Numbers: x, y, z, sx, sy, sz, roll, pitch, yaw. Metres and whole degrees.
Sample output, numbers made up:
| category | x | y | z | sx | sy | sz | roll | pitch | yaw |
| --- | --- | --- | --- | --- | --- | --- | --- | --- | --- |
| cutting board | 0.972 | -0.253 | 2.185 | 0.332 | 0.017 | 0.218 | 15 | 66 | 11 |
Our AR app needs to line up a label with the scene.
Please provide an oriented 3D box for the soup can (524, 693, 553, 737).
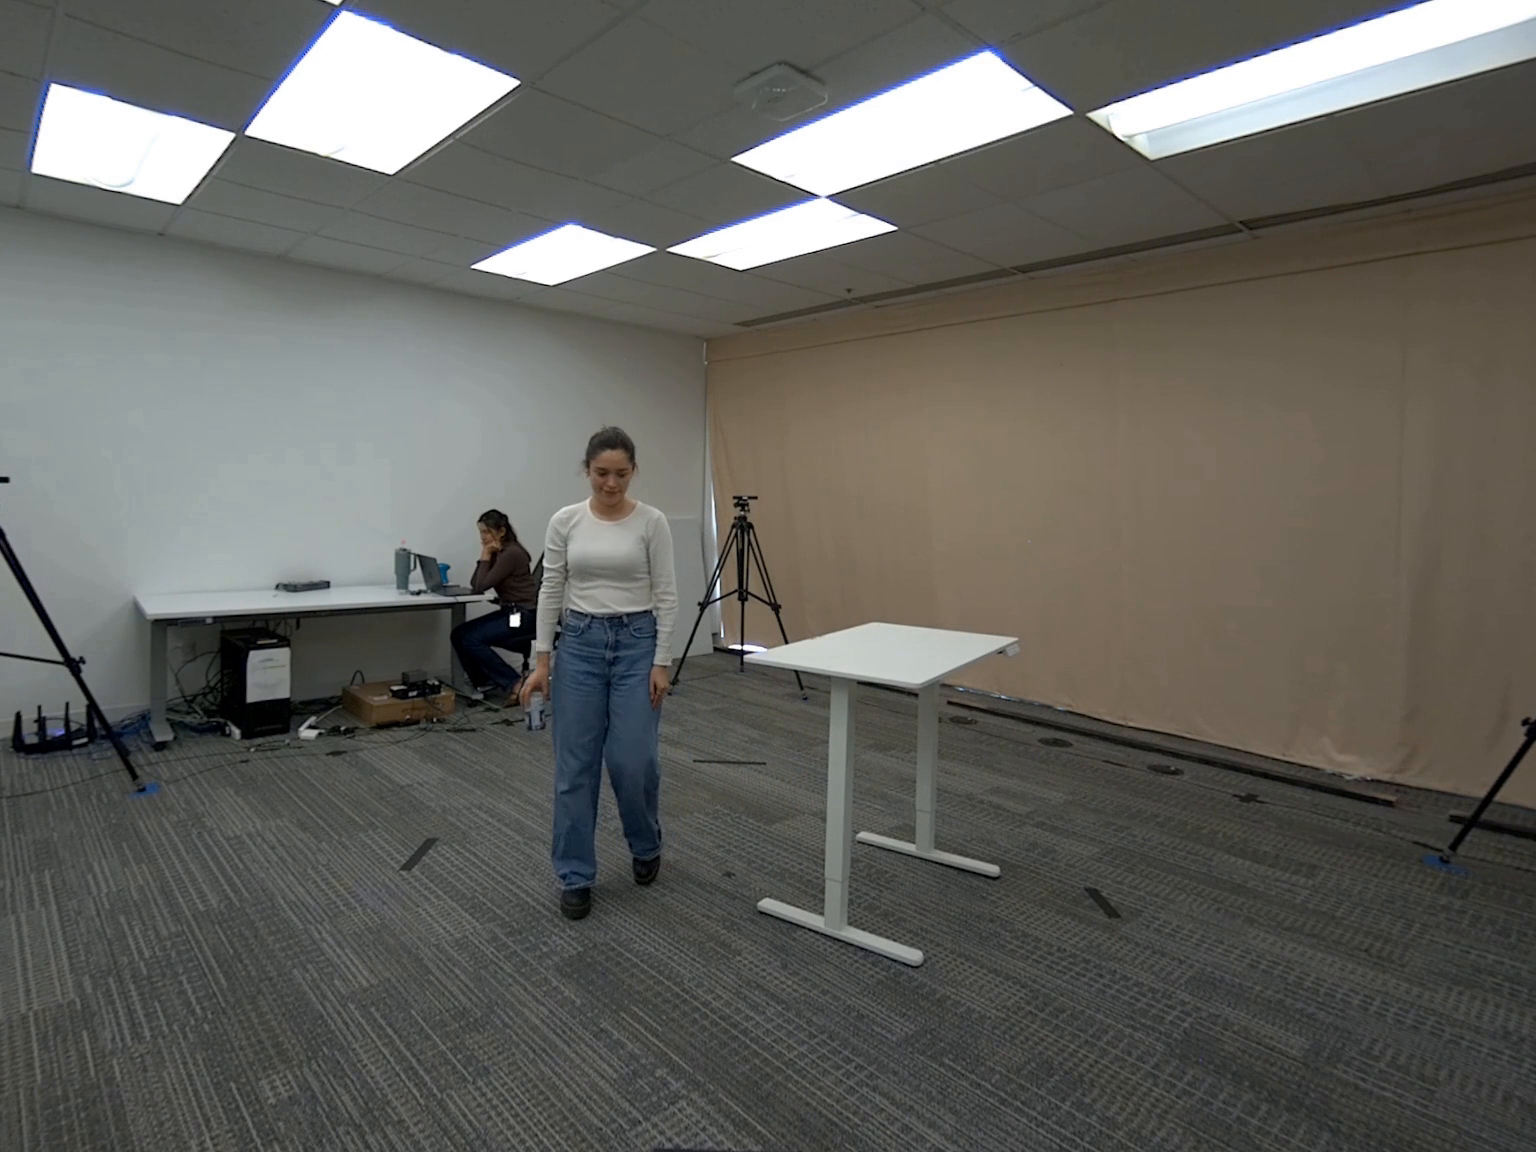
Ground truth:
| category | x | y | z | sx | sy | sz | roll | pitch | yaw |
| --- | --- | --- | --- | --- | --- | --- | --- | --- | --- |
| soup can | -0.766 | 0.461 | 2.825 | 0.067 | 0.121 | 0.067 | -7 | 1 | -1 |
